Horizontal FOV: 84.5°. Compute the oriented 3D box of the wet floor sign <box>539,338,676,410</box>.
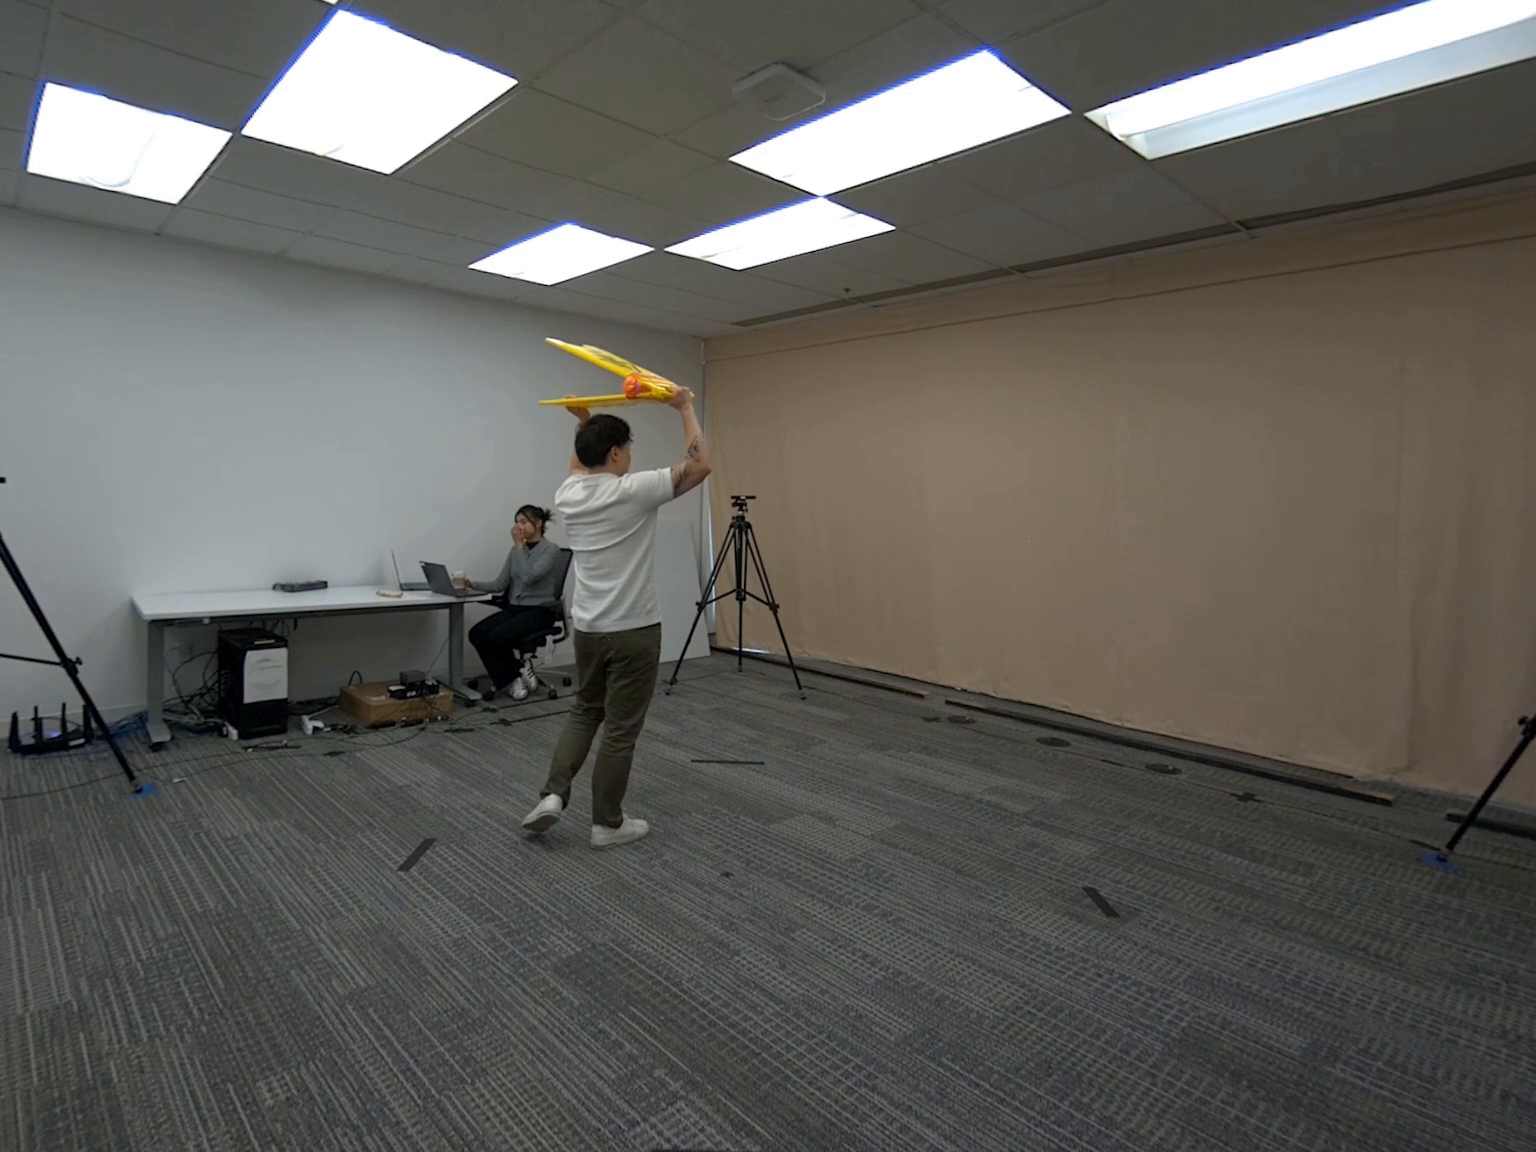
[{"bbox_3d":[-0.611,-0.771,3.376,0.664,0.288,0.276,18,15,36],"label":"wet floor sign"}]
